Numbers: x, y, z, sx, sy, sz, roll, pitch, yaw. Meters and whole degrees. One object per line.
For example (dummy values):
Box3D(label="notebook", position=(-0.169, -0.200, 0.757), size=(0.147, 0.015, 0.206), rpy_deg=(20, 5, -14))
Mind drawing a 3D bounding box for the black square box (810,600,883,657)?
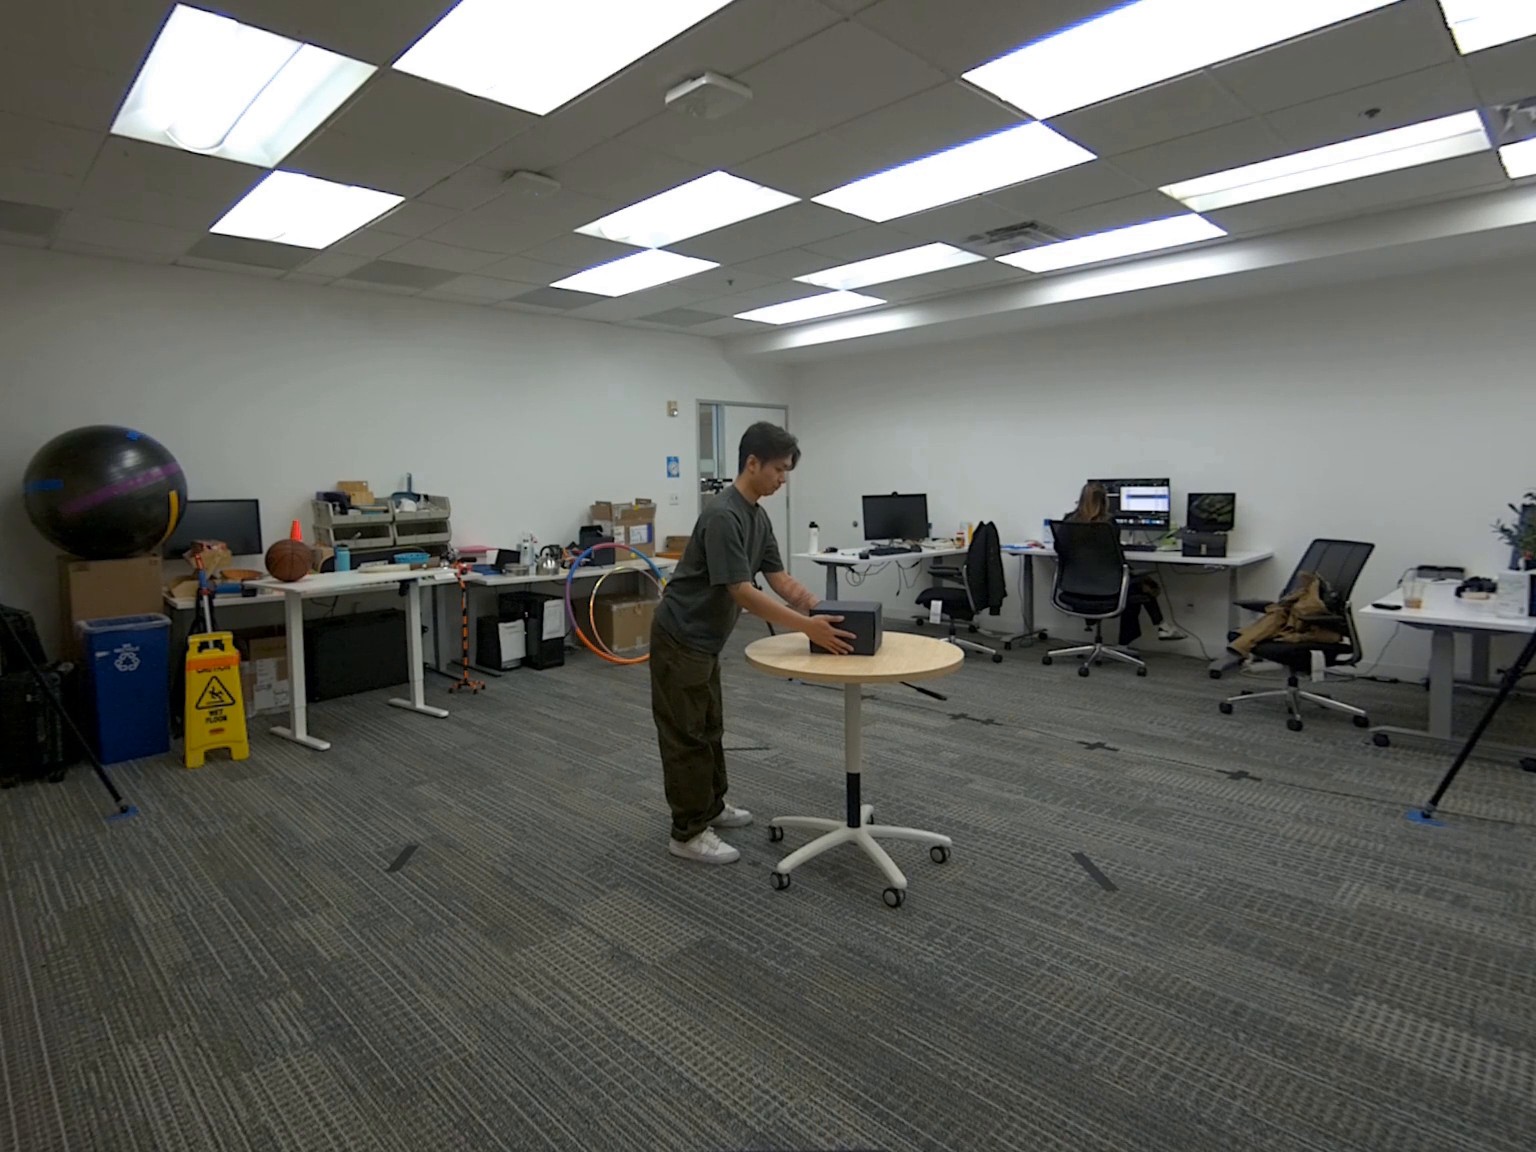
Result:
Box3D(label="black square box", position=(0.282, 0.180, 3.052), size=(0.231, 0.155, 0.214), rpy_deg=(1, 6, 16))
